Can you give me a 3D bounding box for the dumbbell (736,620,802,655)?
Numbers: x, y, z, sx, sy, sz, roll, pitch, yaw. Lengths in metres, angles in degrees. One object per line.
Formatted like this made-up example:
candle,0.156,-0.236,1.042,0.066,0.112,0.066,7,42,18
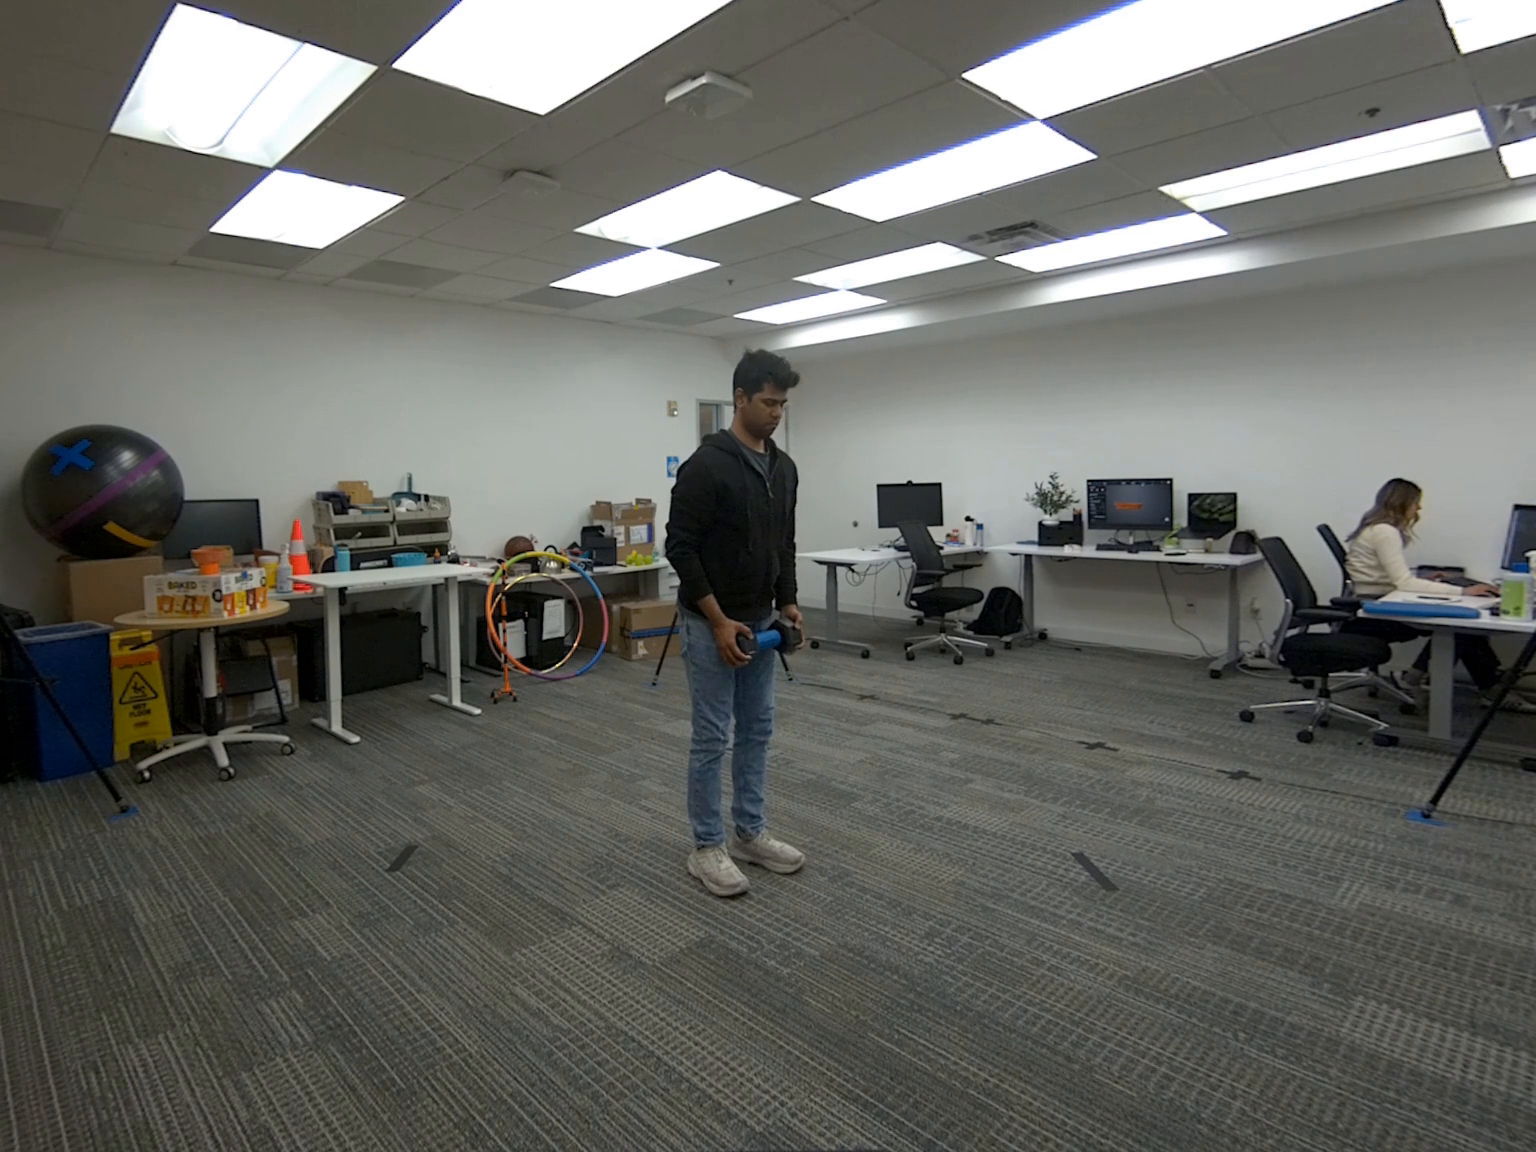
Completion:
dumbbell,-0.025,0.228,2.916,0.286,0.112,0.122,-11,-30,-42
